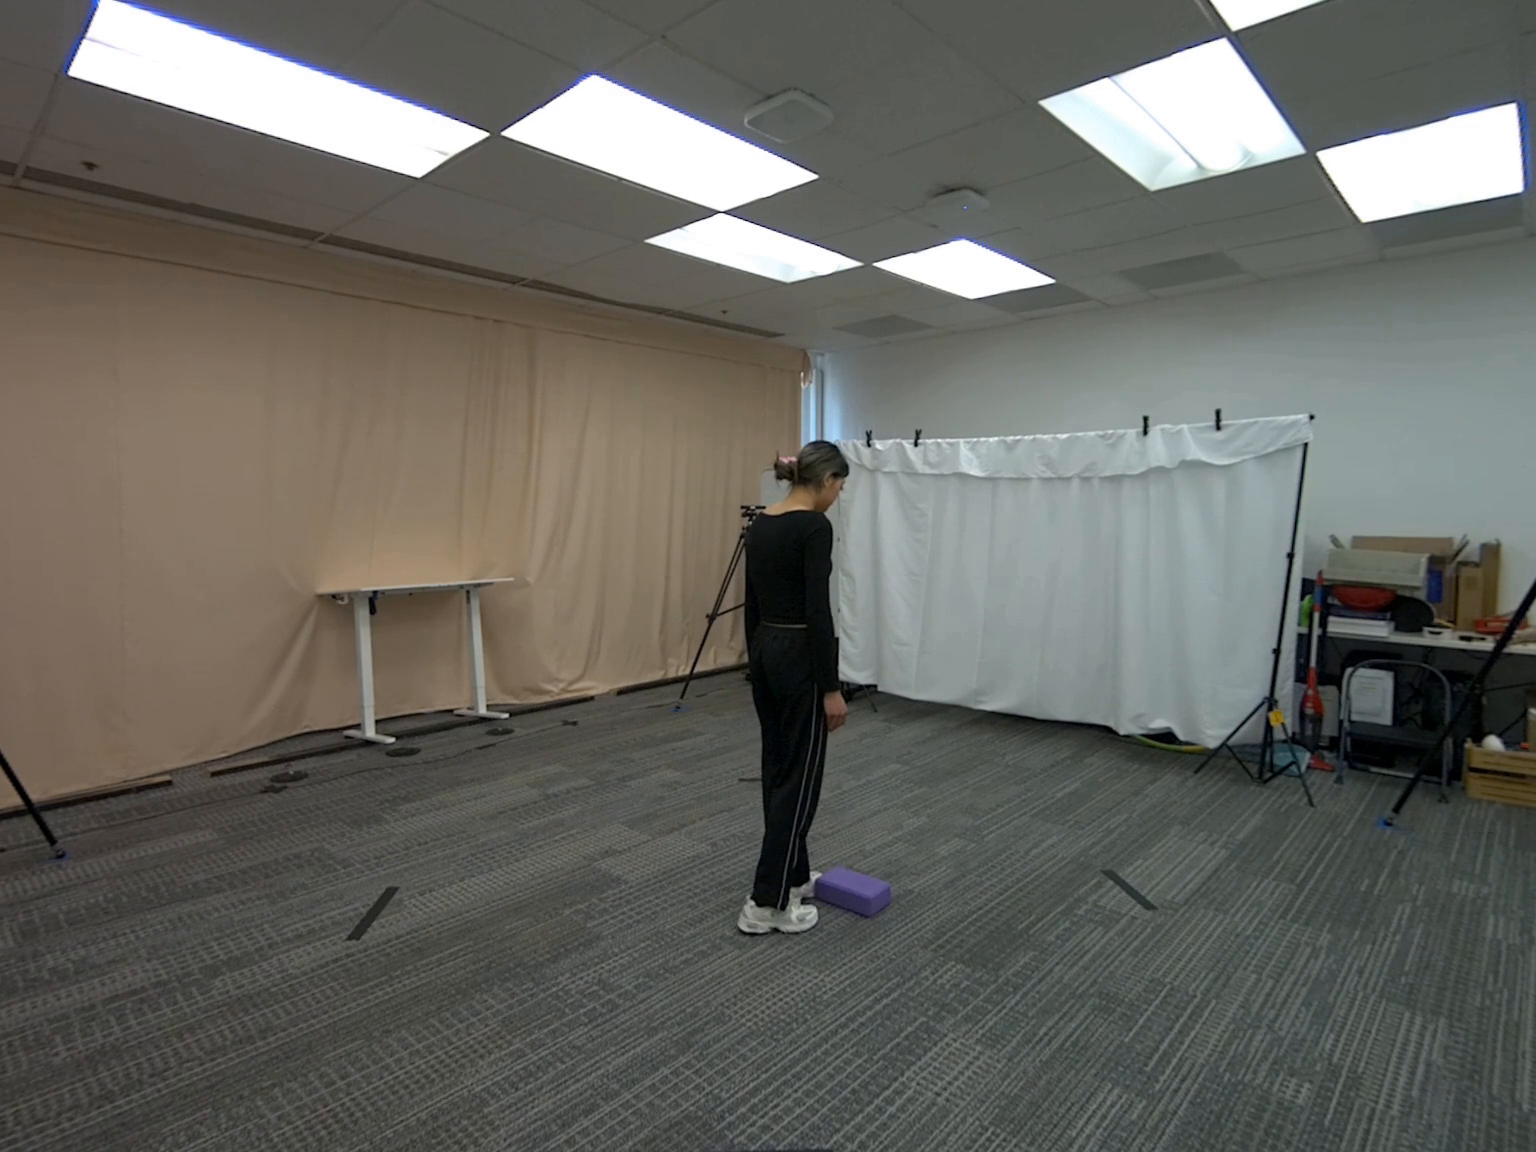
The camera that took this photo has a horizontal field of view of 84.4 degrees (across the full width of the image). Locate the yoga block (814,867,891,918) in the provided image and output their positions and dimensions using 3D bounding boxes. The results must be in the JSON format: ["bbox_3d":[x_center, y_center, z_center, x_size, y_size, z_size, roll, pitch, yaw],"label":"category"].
[{"bbox_3d":[0.302,1.107,2.952,0.237,0.076,0.144,5,6,39],"label":"yoga block"}]
